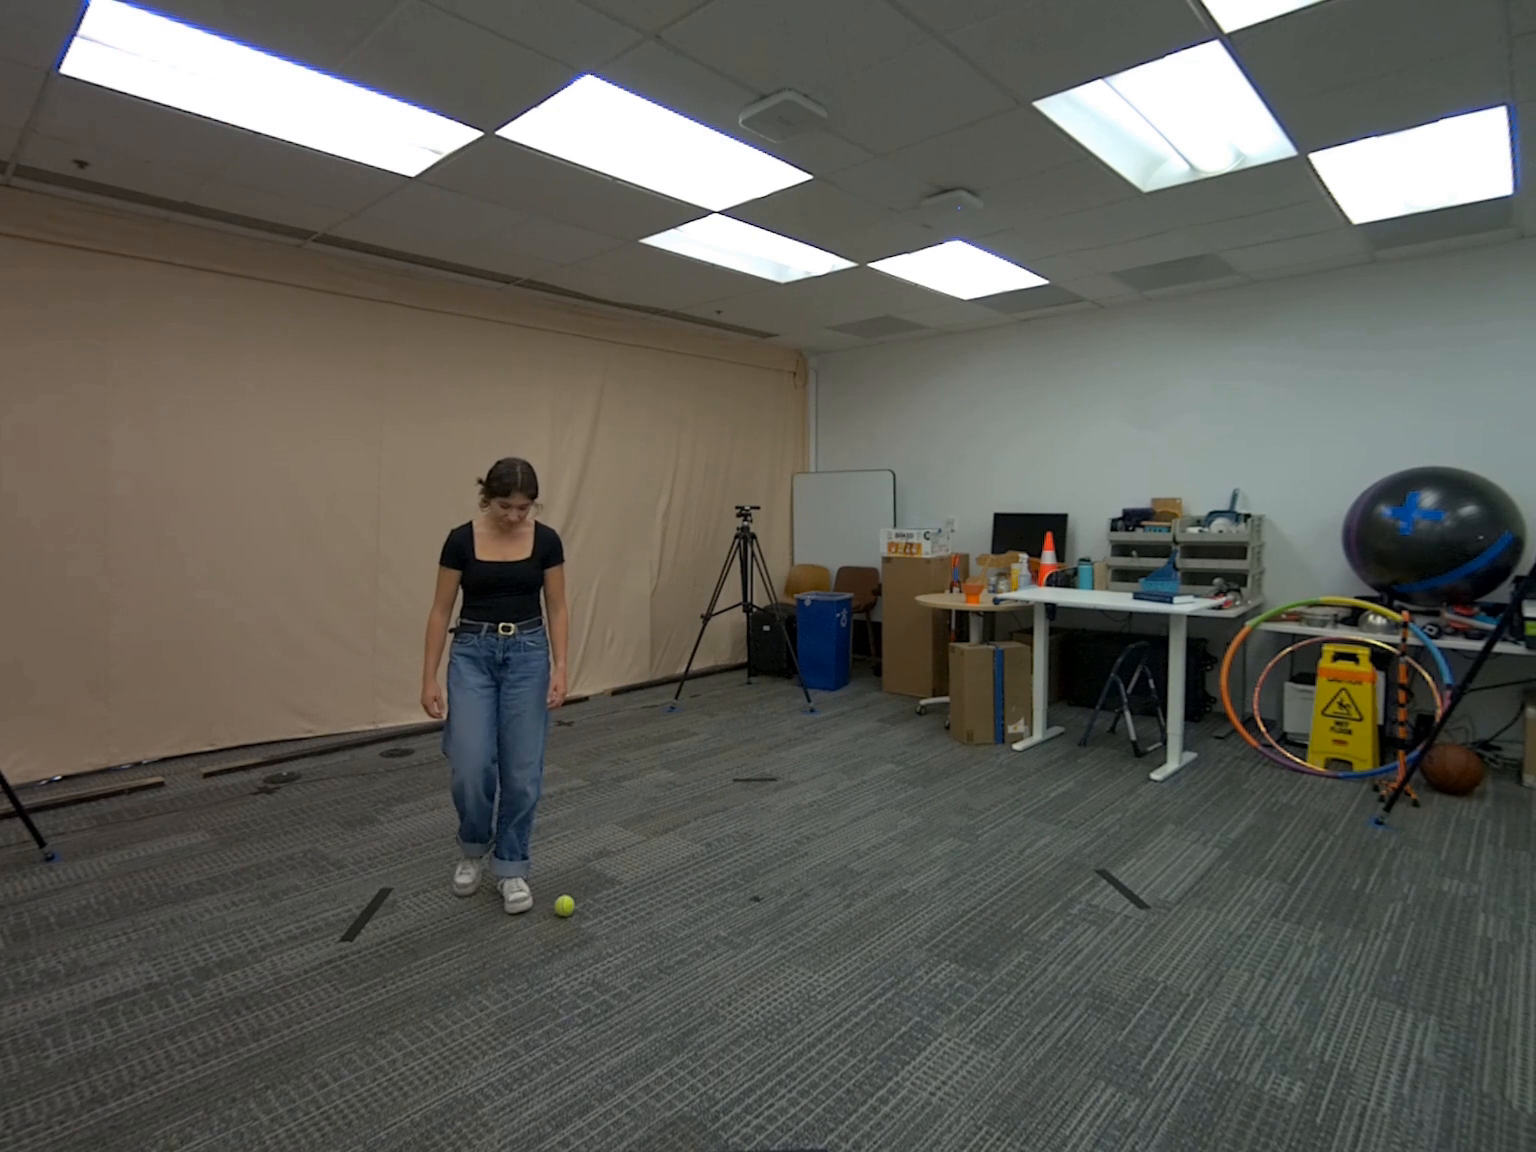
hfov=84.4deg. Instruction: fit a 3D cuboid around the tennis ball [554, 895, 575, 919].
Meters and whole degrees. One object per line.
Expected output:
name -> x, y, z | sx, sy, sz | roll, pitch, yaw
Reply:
tennis ball -> -0.690, 1.114, 2.862 | 0.066, 0.066, 0.067 | 0, 4, -2
